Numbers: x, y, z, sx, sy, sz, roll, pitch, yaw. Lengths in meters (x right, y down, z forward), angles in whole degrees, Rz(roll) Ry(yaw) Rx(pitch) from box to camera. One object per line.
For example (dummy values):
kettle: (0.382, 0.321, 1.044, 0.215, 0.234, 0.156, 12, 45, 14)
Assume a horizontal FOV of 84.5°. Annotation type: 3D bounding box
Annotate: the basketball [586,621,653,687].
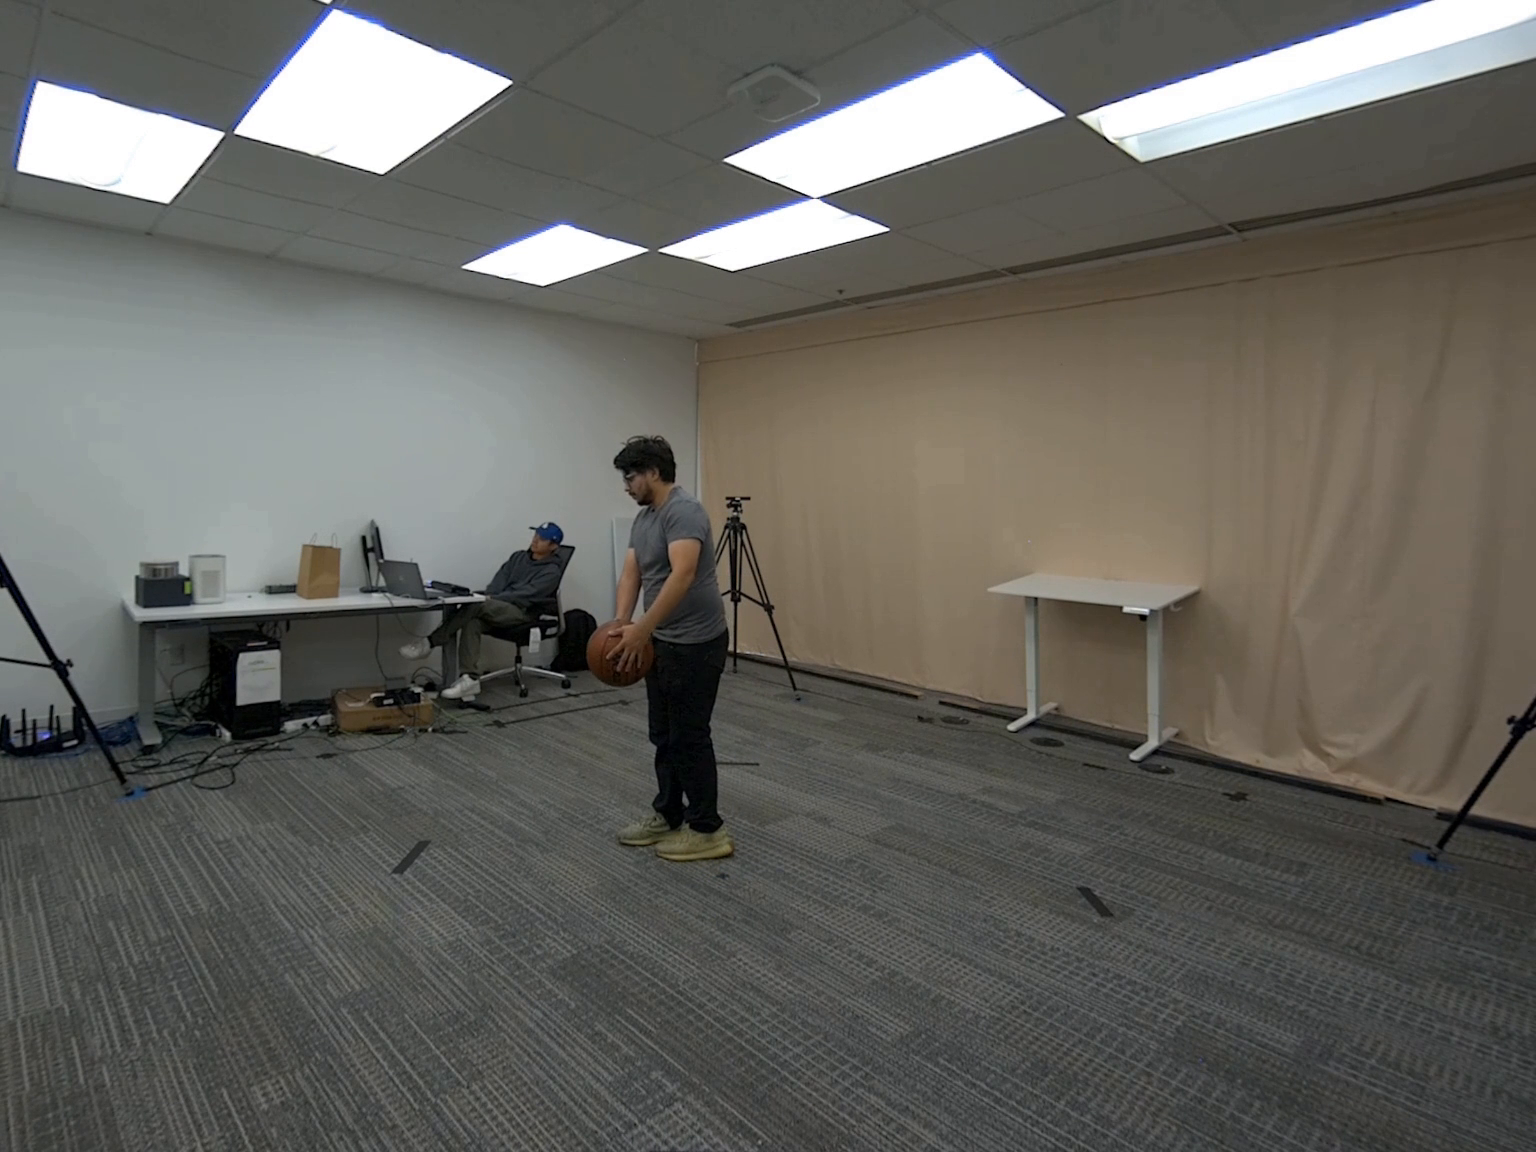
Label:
basketball: (-0.544, 0.274, 3.002, 0.236, 0.235, 0.237, 1, 4, -1)
